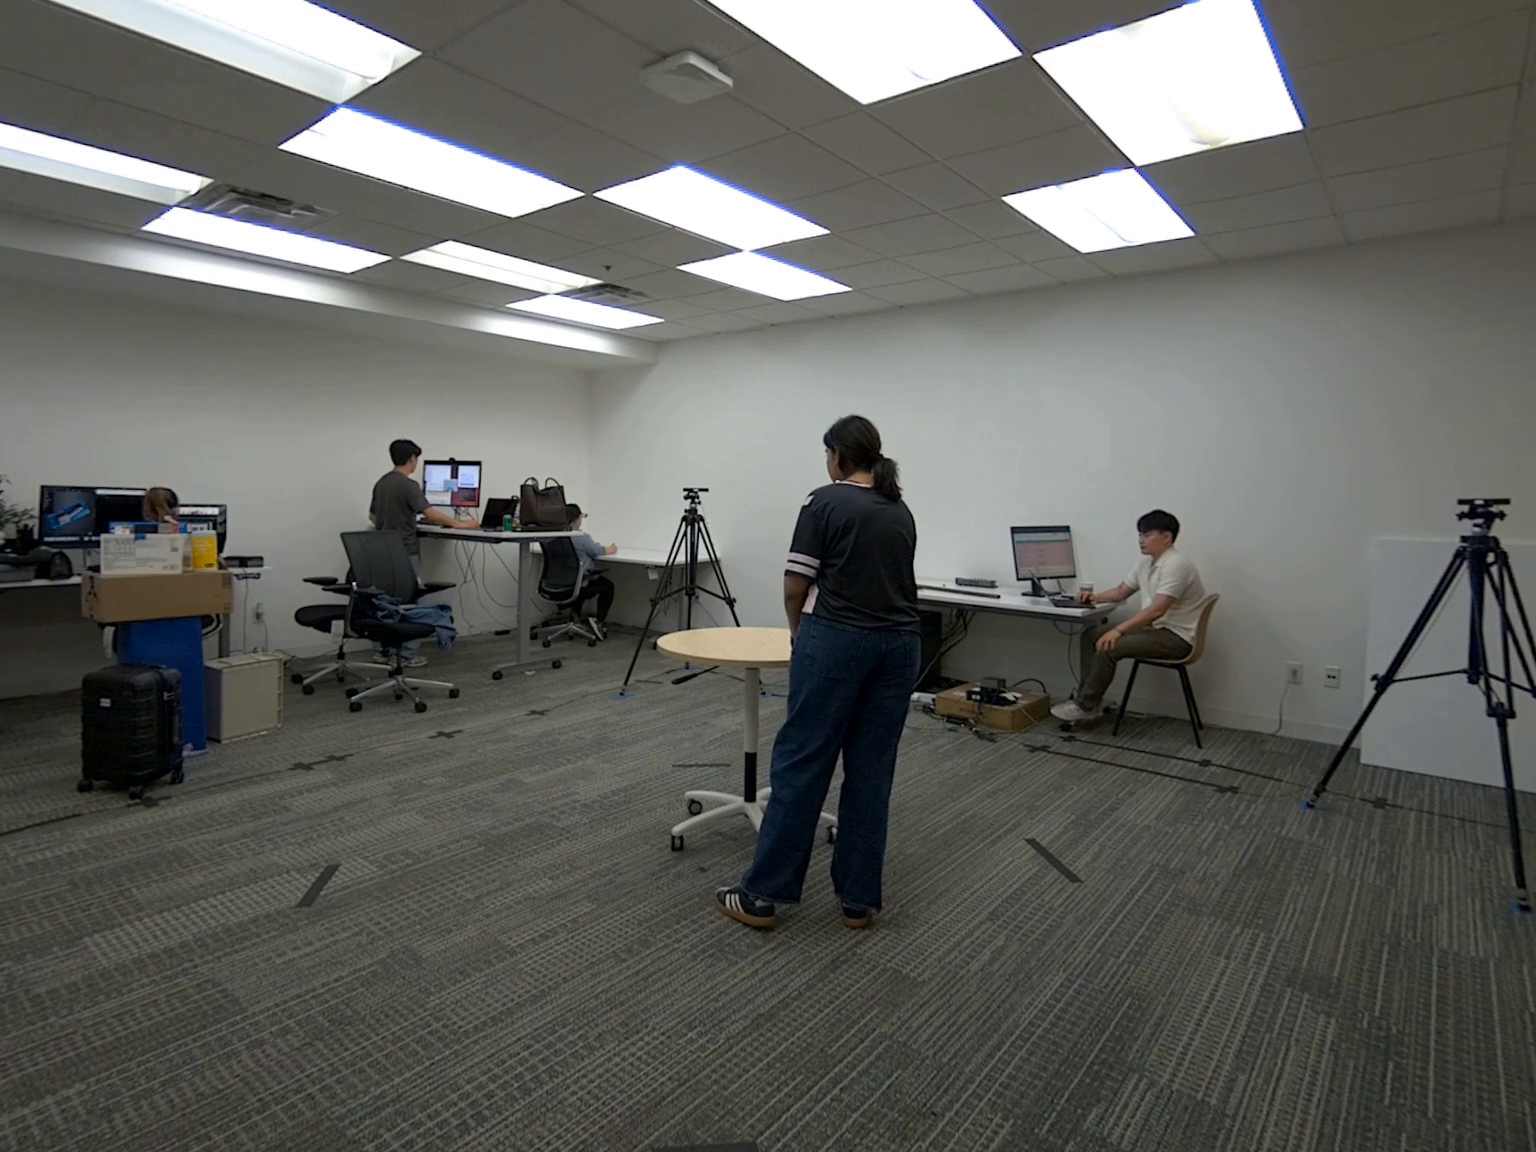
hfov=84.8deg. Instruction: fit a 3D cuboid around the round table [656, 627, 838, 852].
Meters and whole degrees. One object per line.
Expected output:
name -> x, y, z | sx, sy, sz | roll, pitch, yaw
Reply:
round table -> -0.077, 0.654, 3.411 | 0.763, 0.792, 0.767 | 1, 3, -2
